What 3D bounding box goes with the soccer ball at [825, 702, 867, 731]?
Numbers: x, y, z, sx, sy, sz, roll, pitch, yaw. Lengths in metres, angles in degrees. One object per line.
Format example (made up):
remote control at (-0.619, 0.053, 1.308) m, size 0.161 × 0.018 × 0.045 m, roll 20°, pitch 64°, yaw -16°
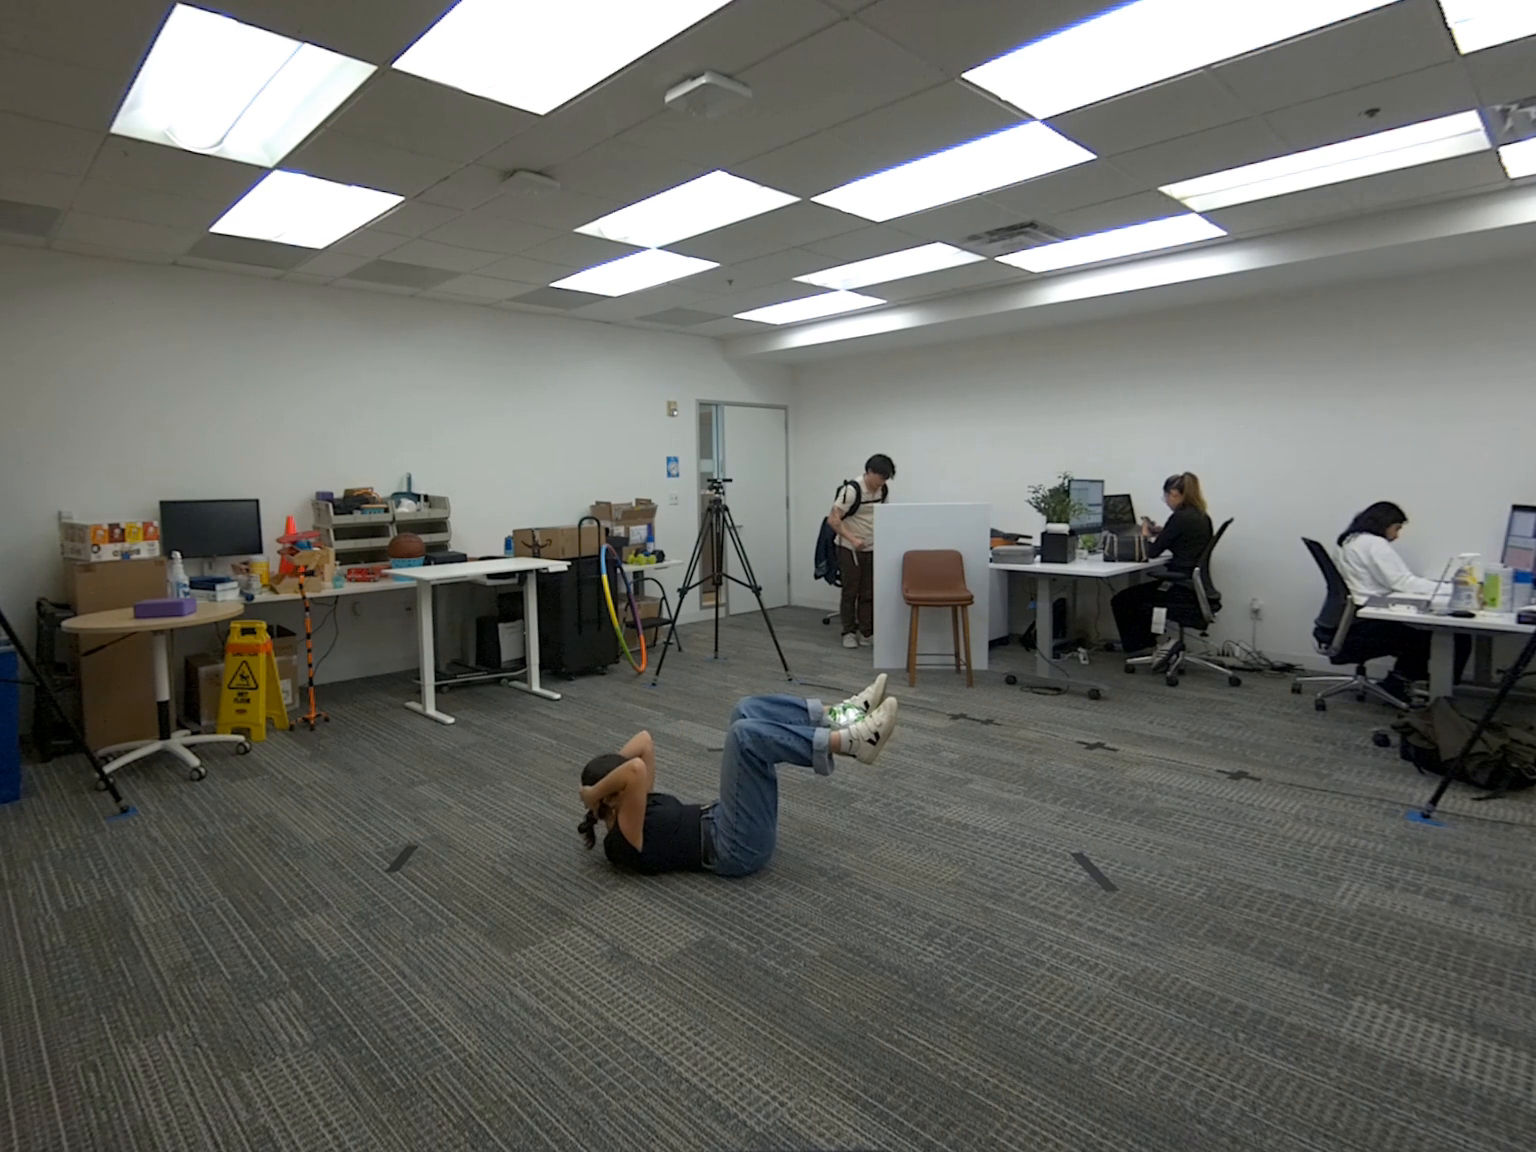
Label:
soccer ball at (0.284, 0.555, 3.074) m, size 0.187 × 0.187 × 0.188 m, roll 0°, pitch 1°, yaw -2°
